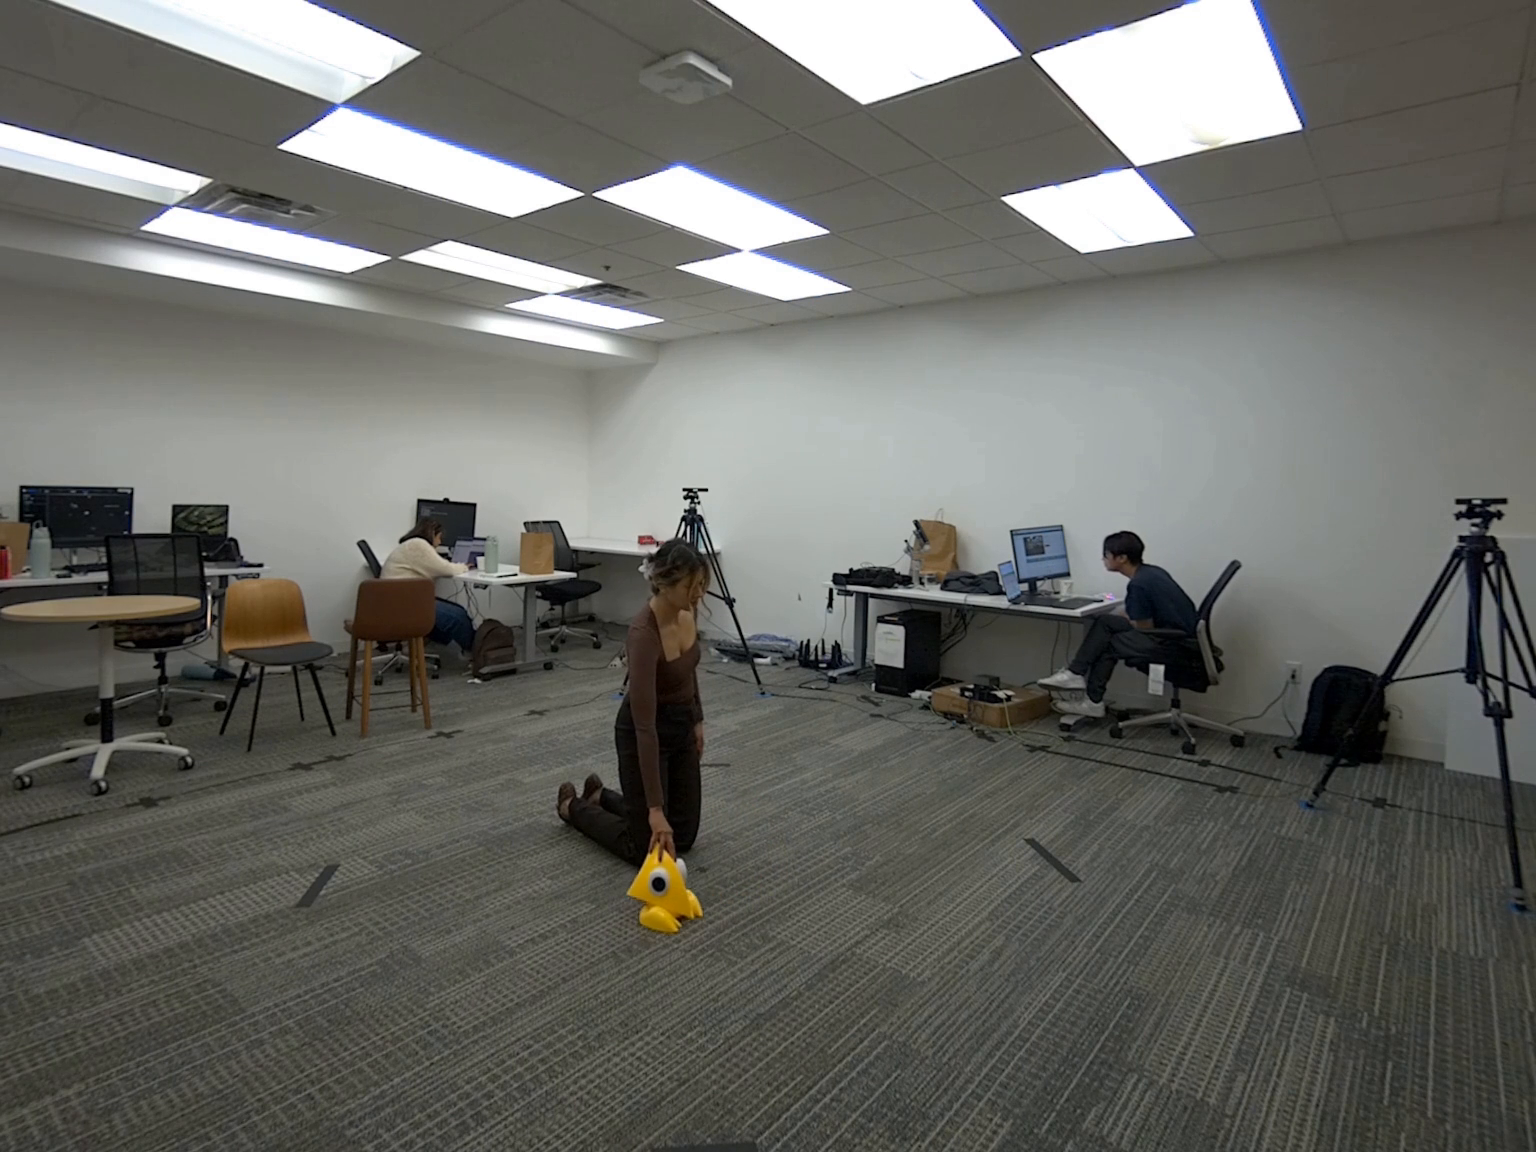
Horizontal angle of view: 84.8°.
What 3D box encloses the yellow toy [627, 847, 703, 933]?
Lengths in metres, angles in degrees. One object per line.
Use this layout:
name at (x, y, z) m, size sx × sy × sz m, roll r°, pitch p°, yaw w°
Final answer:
yellow toy at (-0.333, 0.987, 2.763) m, size 0.199 × 0.230 × 0.199 m, roll 4°, pitch 4°, yaw 36°
